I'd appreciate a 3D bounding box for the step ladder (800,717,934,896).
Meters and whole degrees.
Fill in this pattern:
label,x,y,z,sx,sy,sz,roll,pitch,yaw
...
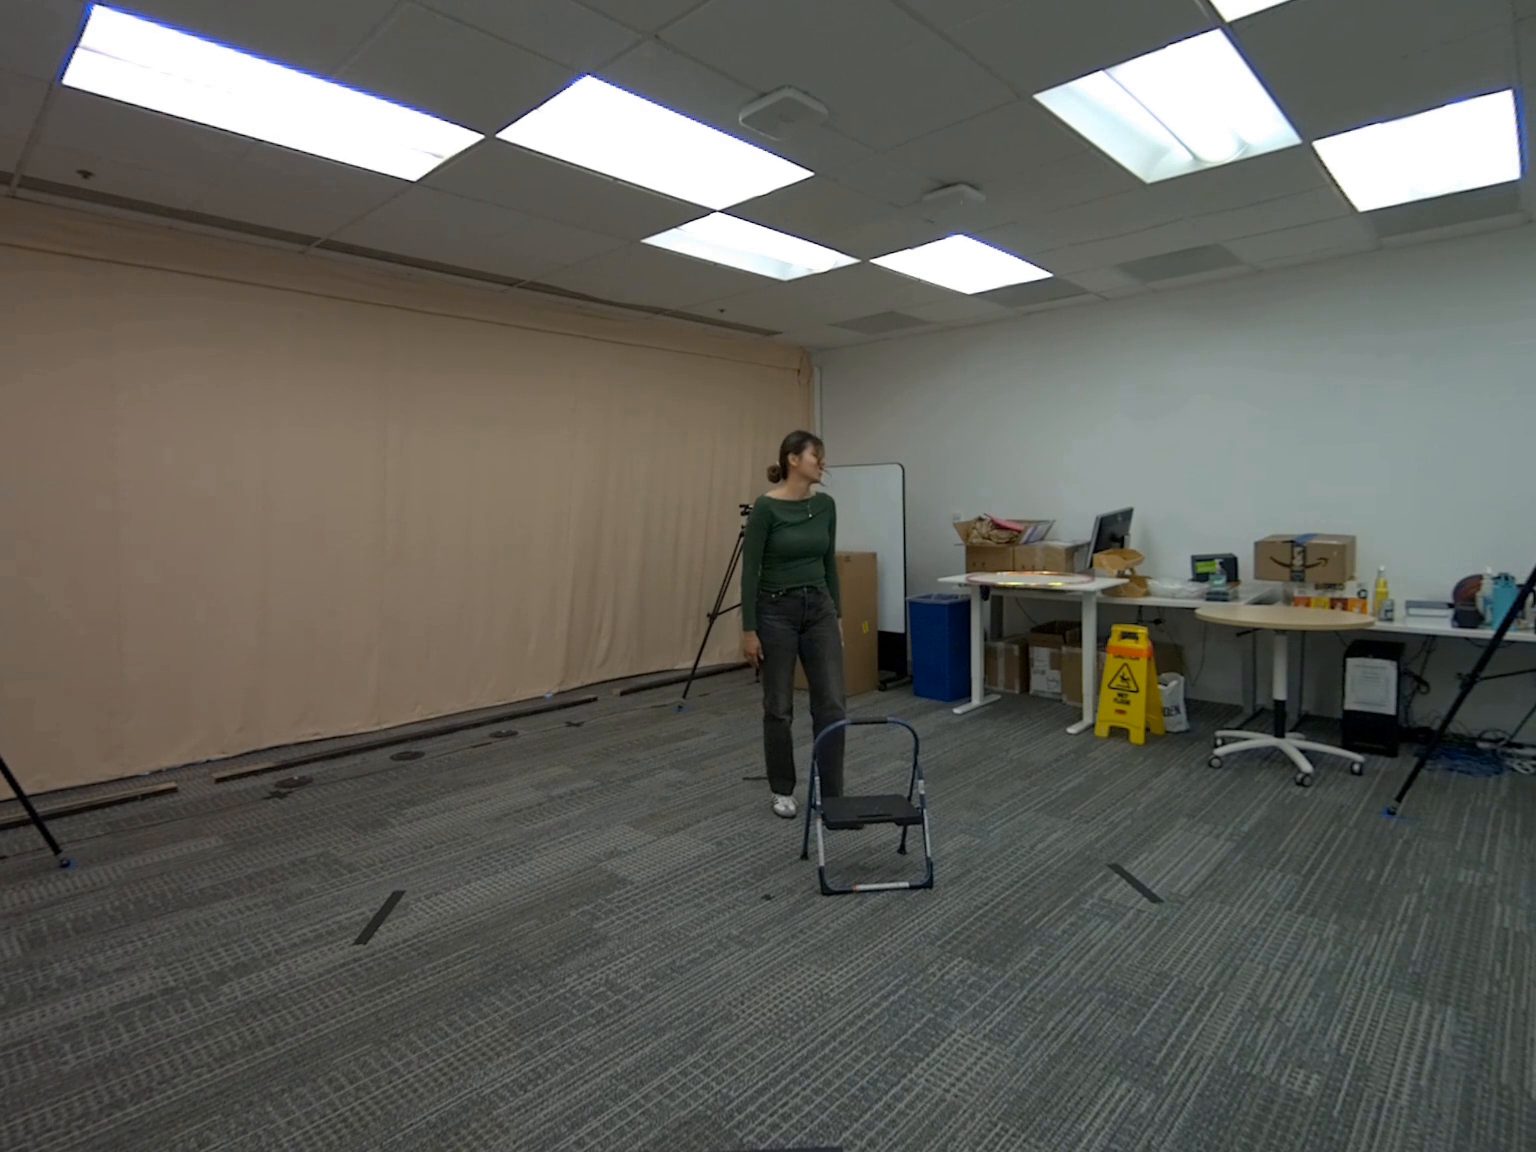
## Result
label,x,y,z,sx,sy,sz,roll,pitch,yaw
step ladder,0.367,0.819,3.157,0.427,0.605,0.353,-1,3,-9
